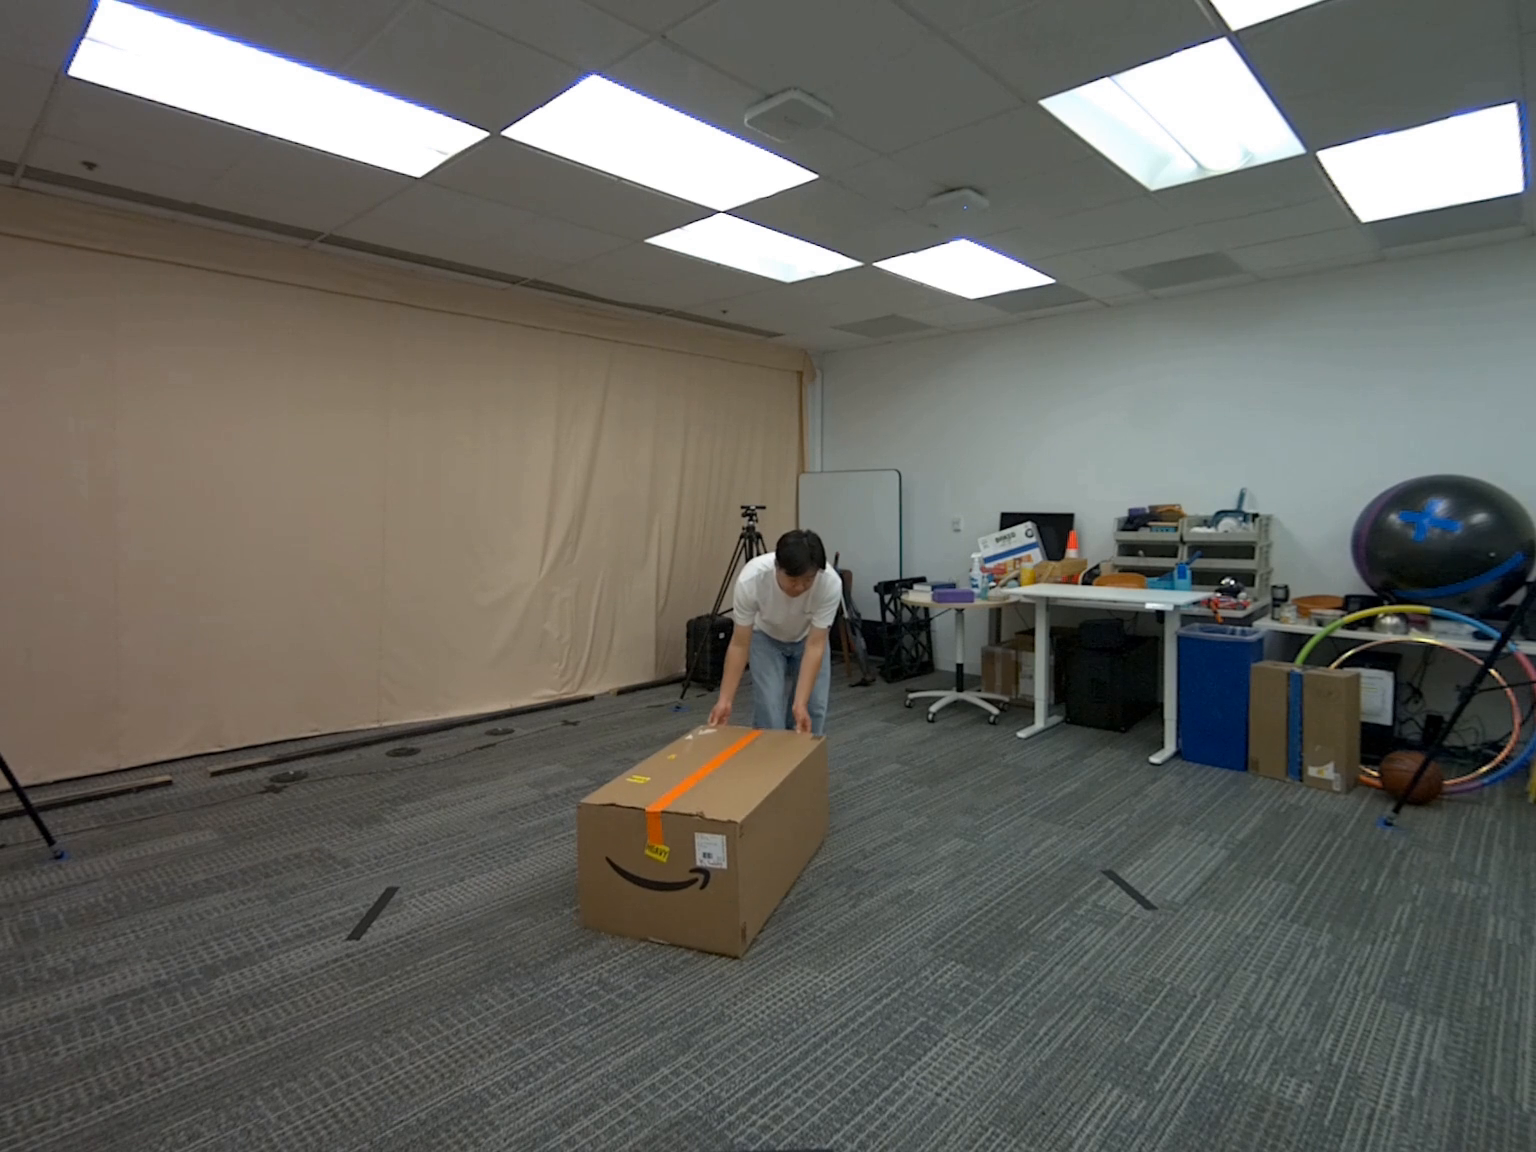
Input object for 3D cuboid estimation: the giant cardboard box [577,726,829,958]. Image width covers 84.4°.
[{"bbox_3d":[-0.193,0.908,3.133,0.590,0.425,1.006,0,5,20],"label":"giant cardboard box"}]
